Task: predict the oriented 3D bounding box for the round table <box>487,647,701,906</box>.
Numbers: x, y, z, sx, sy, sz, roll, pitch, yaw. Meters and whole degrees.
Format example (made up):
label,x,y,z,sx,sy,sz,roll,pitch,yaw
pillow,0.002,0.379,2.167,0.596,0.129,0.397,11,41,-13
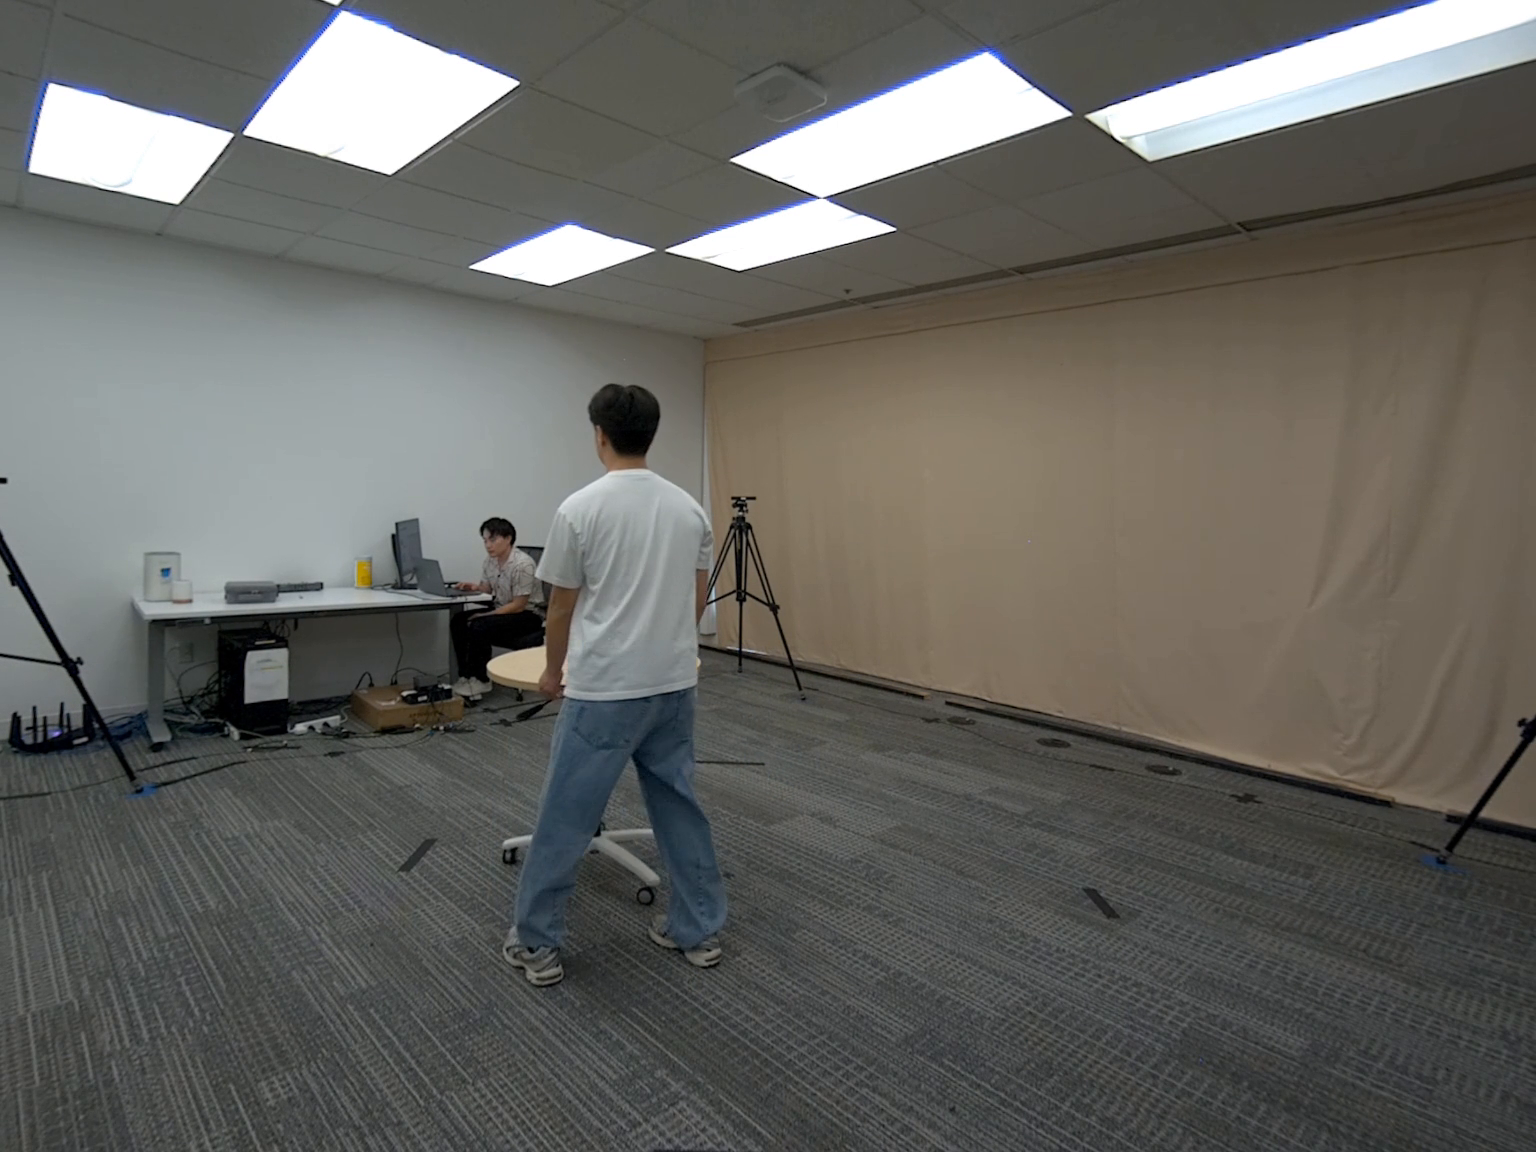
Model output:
label,x,y,z,sx,sy,sz,roll,pitch,yaw
round table,-0.641,0.710,3.095,0.763,0.792,0.767,1,4,-1
